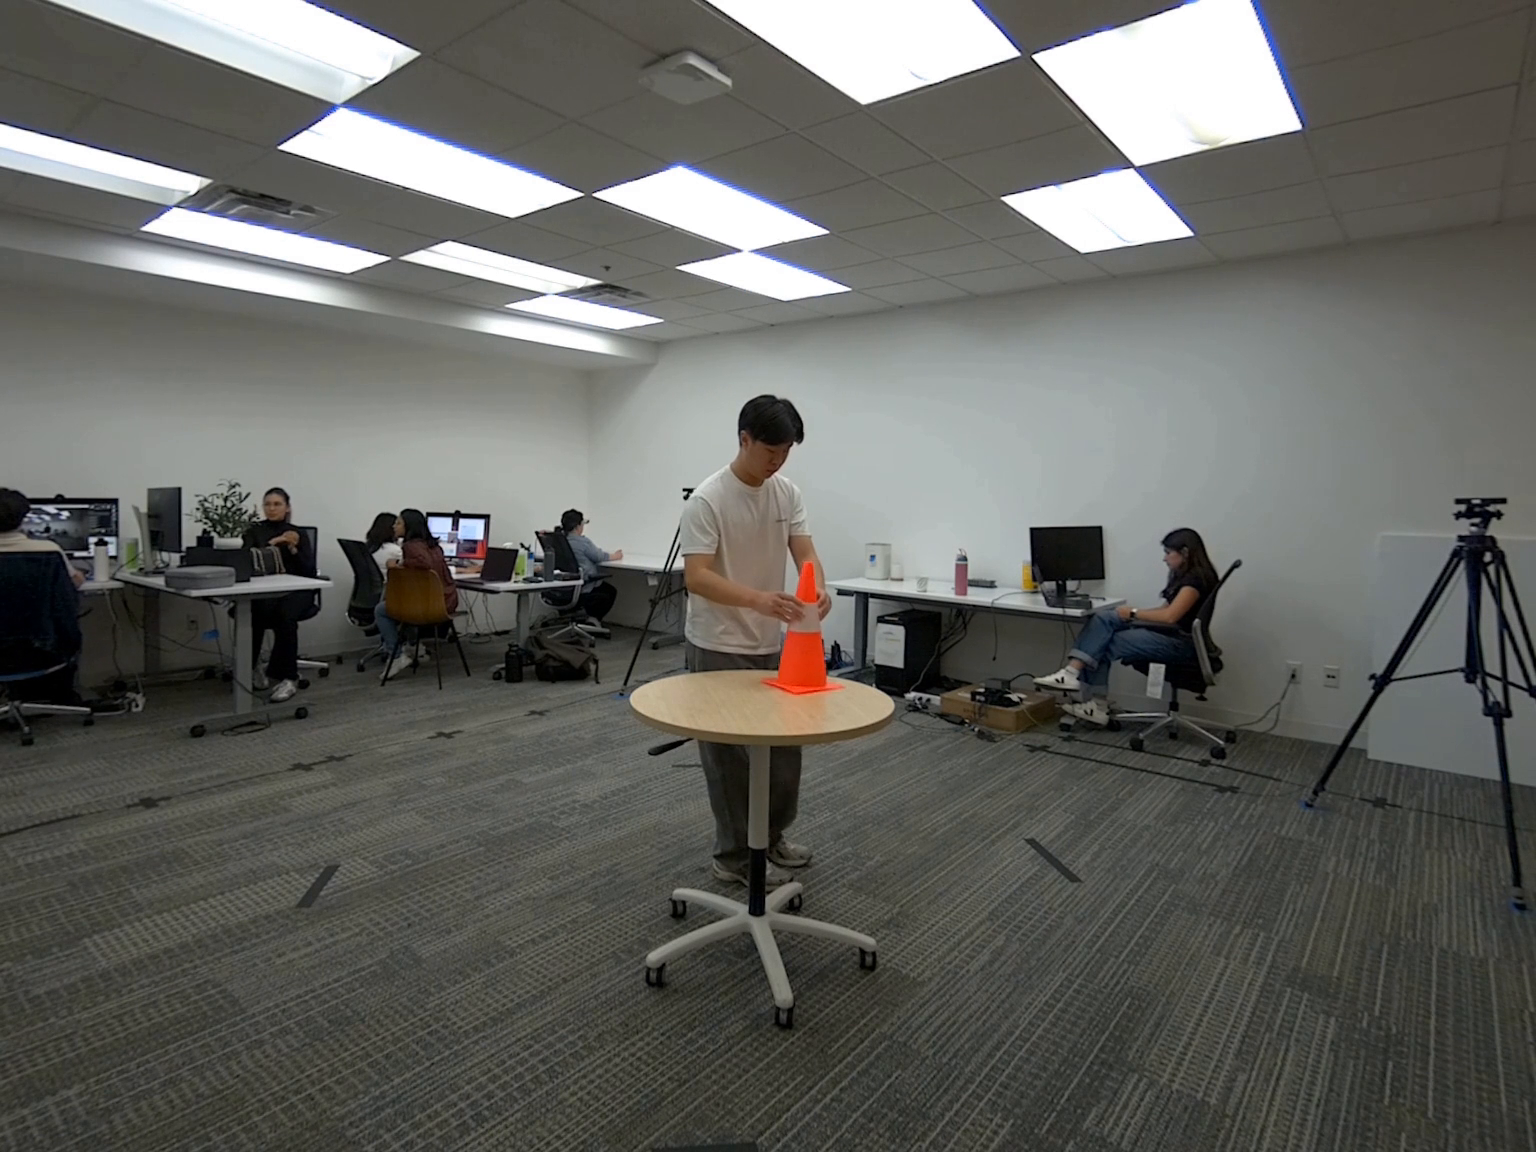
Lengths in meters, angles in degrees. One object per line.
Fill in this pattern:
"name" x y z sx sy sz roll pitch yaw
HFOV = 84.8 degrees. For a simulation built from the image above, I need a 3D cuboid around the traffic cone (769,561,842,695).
"traffic cone" 0.106 0.139 2.661 0.200 0.383 0.209 -2 2 -28
